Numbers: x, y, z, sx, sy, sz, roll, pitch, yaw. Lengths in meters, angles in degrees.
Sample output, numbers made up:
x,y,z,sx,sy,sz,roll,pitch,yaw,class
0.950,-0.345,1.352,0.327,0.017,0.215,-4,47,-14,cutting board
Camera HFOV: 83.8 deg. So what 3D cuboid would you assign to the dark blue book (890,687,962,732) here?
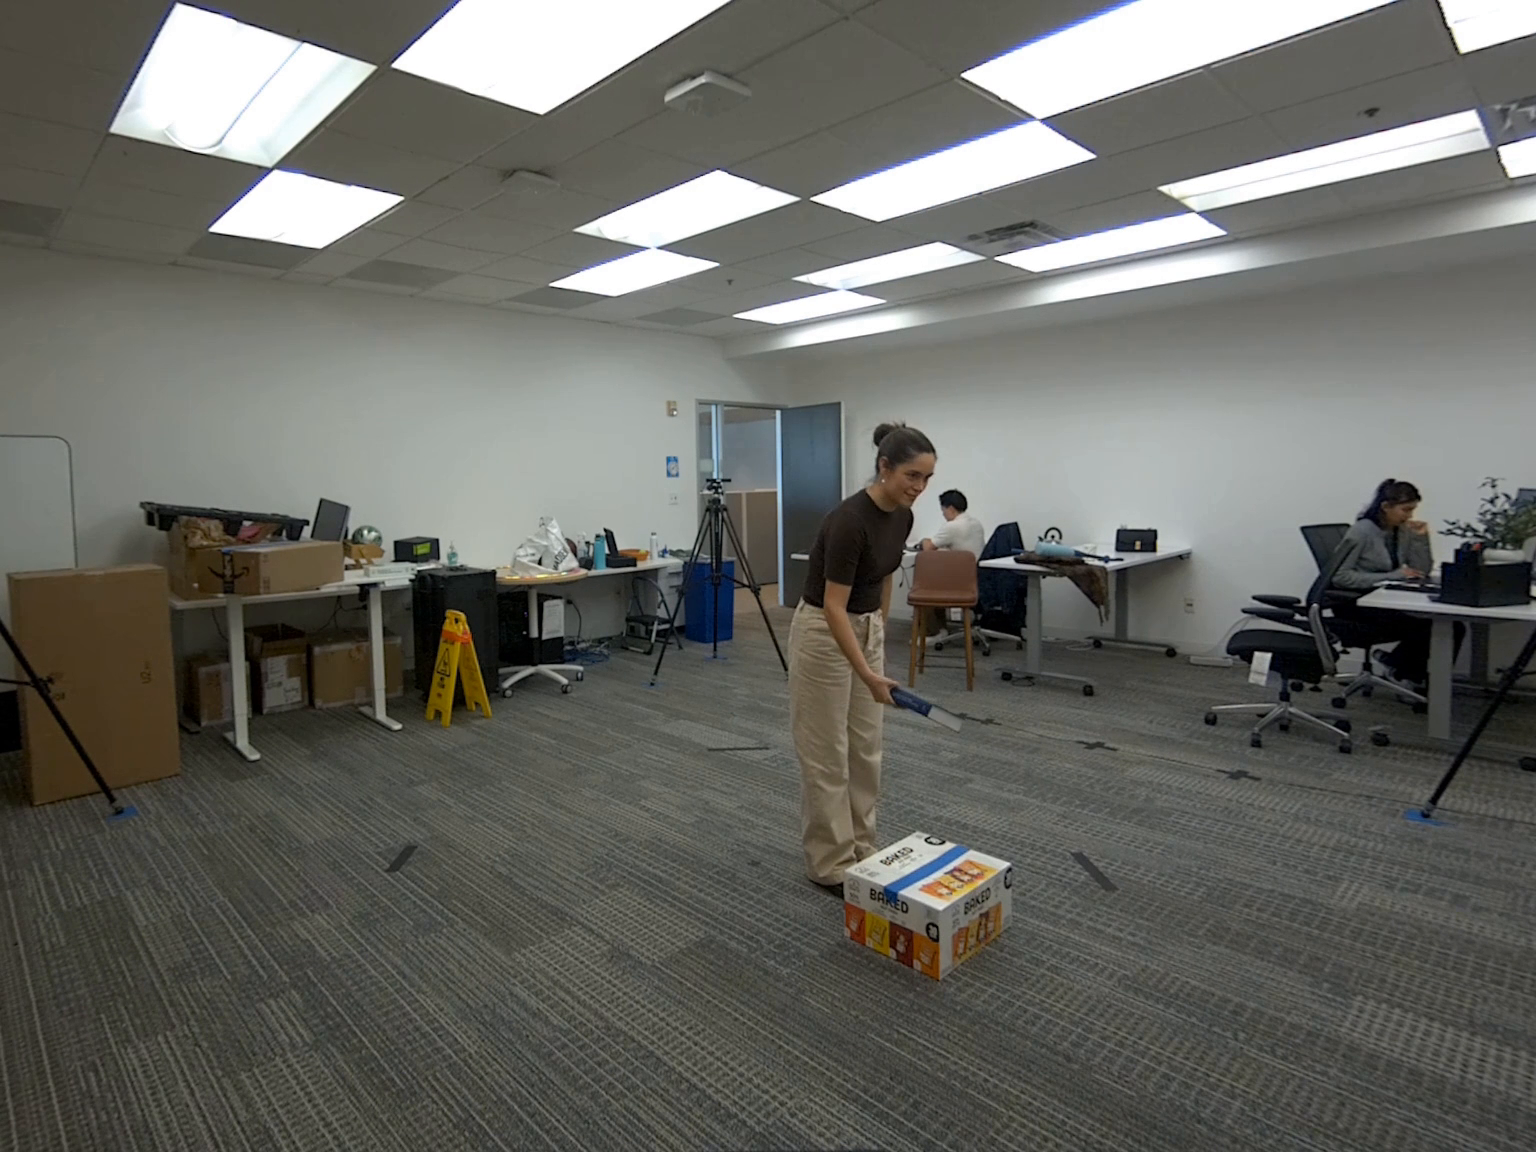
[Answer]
x,y,z,sx,sy,sz,roll,pitch,yaw,class
0.462,0.397,2.607,0.158,0.045,0.253,27,-5,-32,dark blue book
